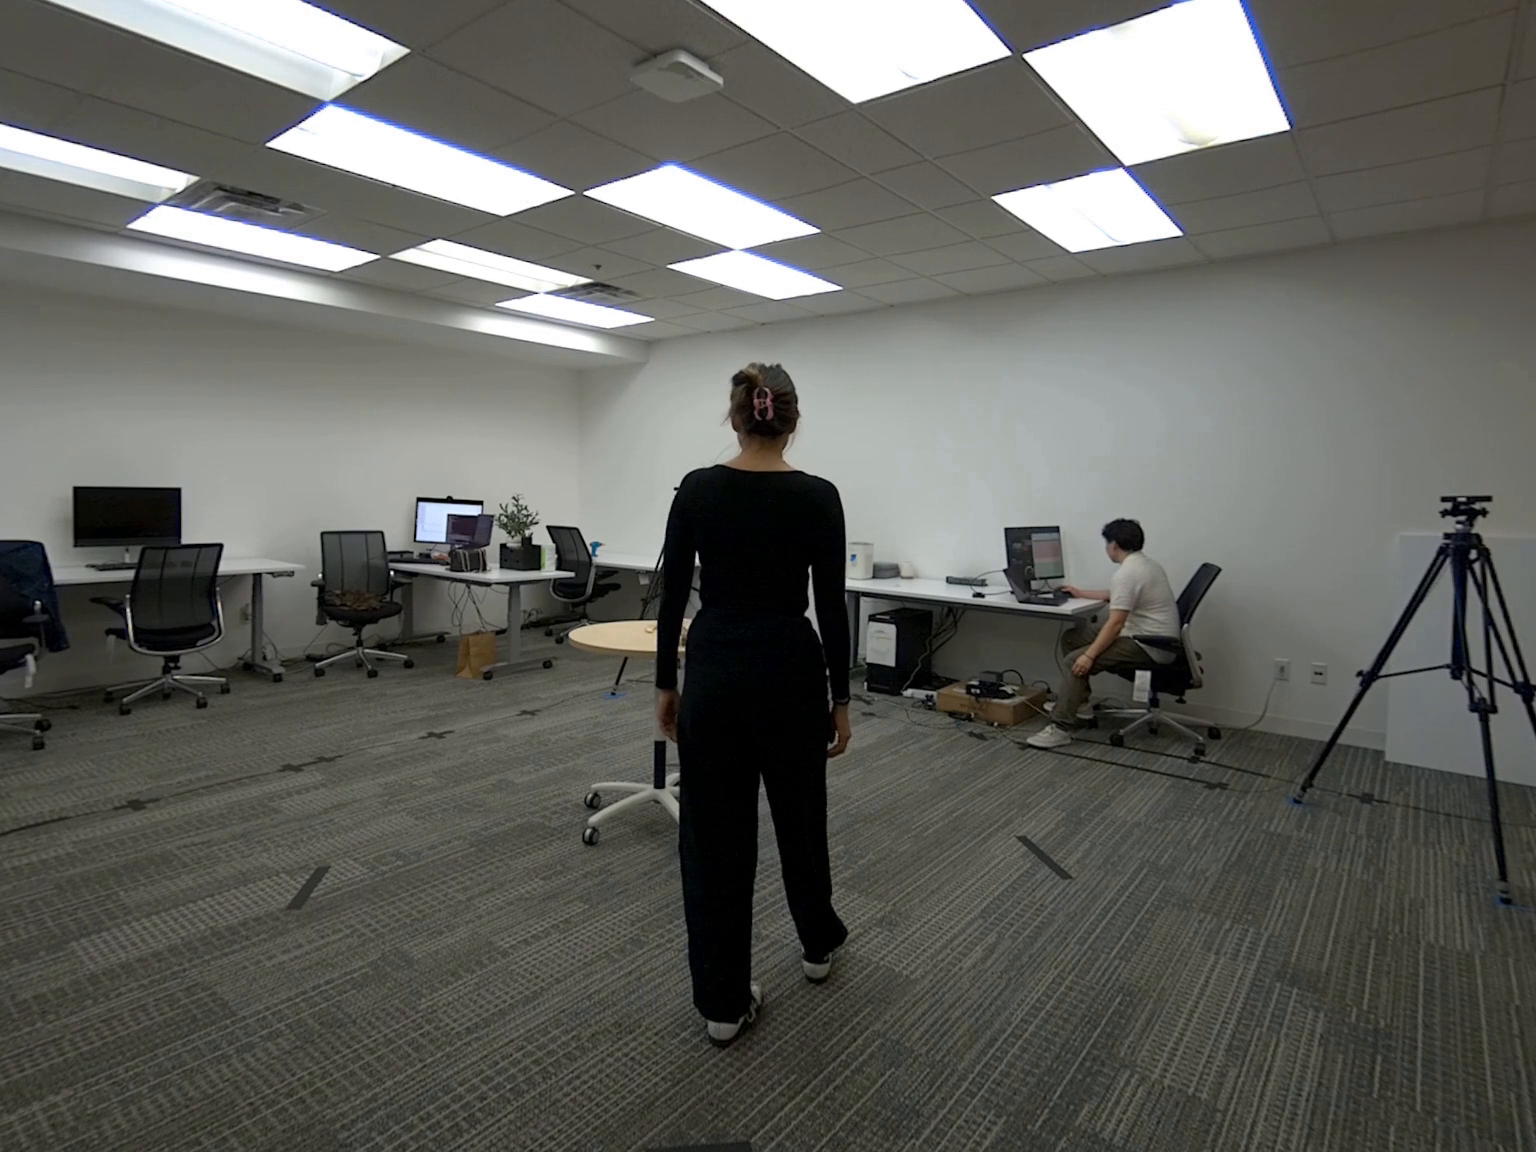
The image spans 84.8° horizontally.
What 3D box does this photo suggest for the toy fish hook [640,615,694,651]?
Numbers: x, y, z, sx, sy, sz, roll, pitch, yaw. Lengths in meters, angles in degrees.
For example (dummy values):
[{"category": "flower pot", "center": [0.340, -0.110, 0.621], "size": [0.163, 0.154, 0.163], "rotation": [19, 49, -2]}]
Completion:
[{"category": "toy fish hook", "center": [-0.409, 0.228, 3.492], "size": [0.224, 0.048, 0.511], "rotation": [-6, 5, -5]}]
